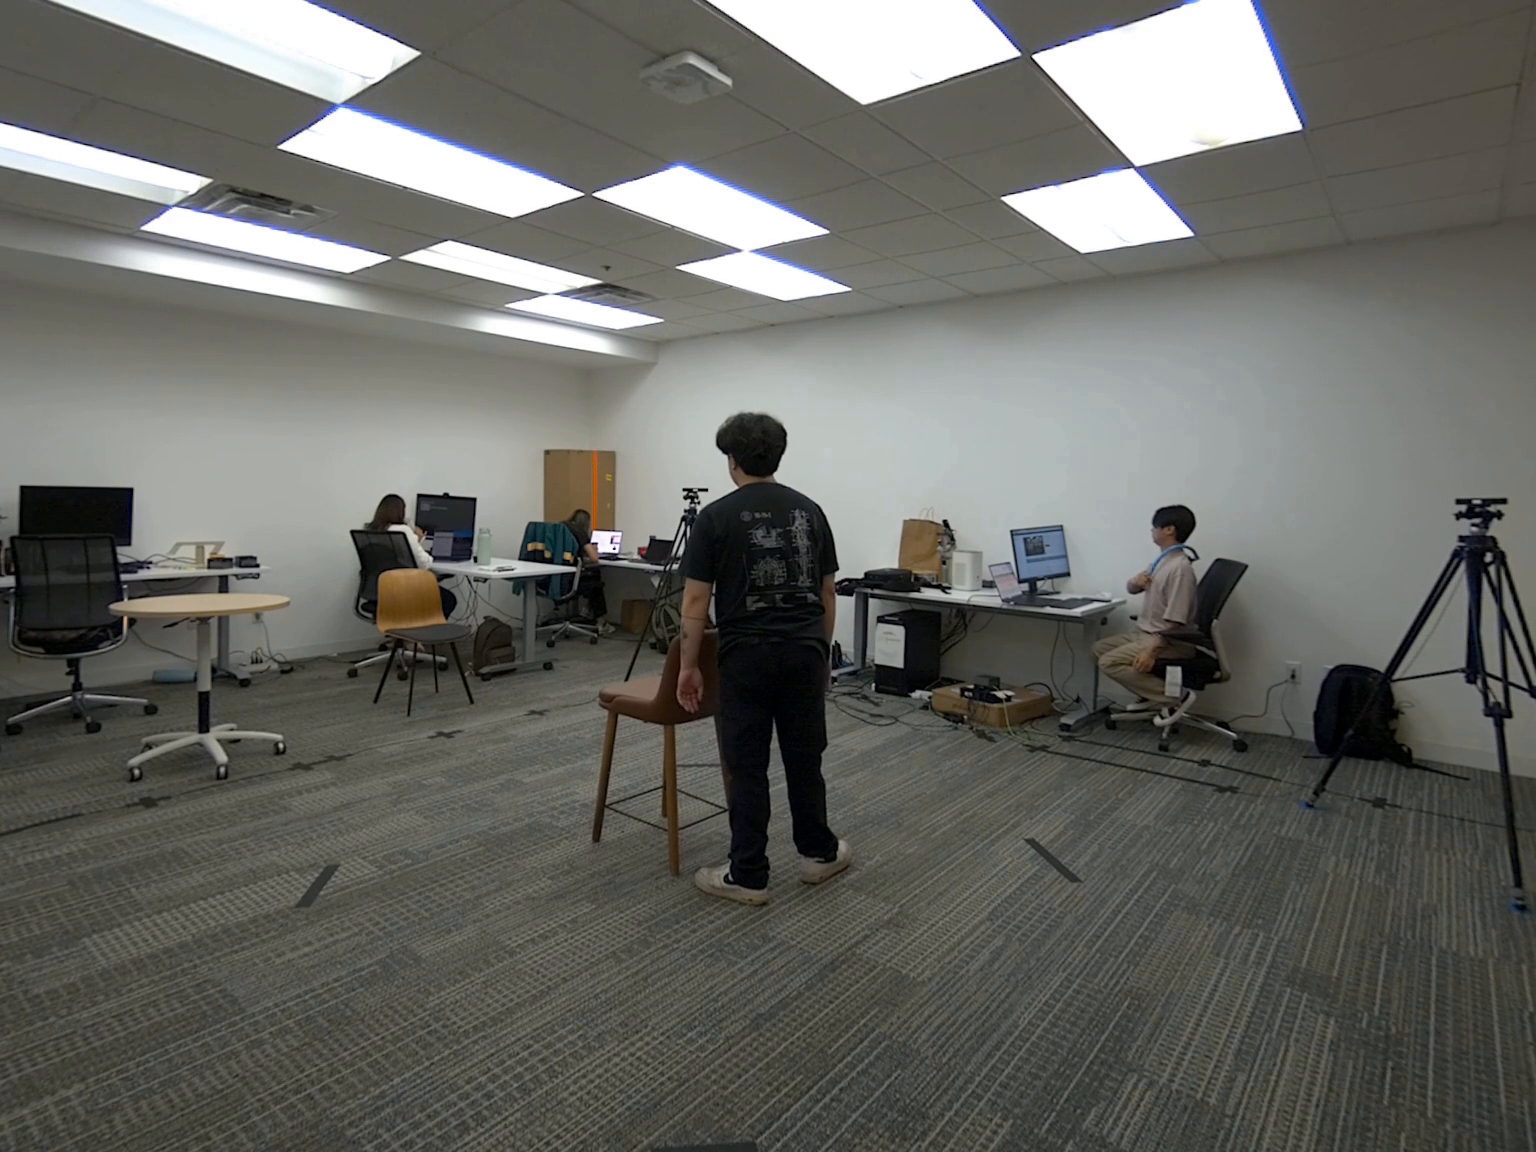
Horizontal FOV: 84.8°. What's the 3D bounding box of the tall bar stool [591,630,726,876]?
[{"bbox_3d":[-0.389,0.611,3.310,0.484,0.887,0.443,6,5,40],"label":"tall bar stool"}]
